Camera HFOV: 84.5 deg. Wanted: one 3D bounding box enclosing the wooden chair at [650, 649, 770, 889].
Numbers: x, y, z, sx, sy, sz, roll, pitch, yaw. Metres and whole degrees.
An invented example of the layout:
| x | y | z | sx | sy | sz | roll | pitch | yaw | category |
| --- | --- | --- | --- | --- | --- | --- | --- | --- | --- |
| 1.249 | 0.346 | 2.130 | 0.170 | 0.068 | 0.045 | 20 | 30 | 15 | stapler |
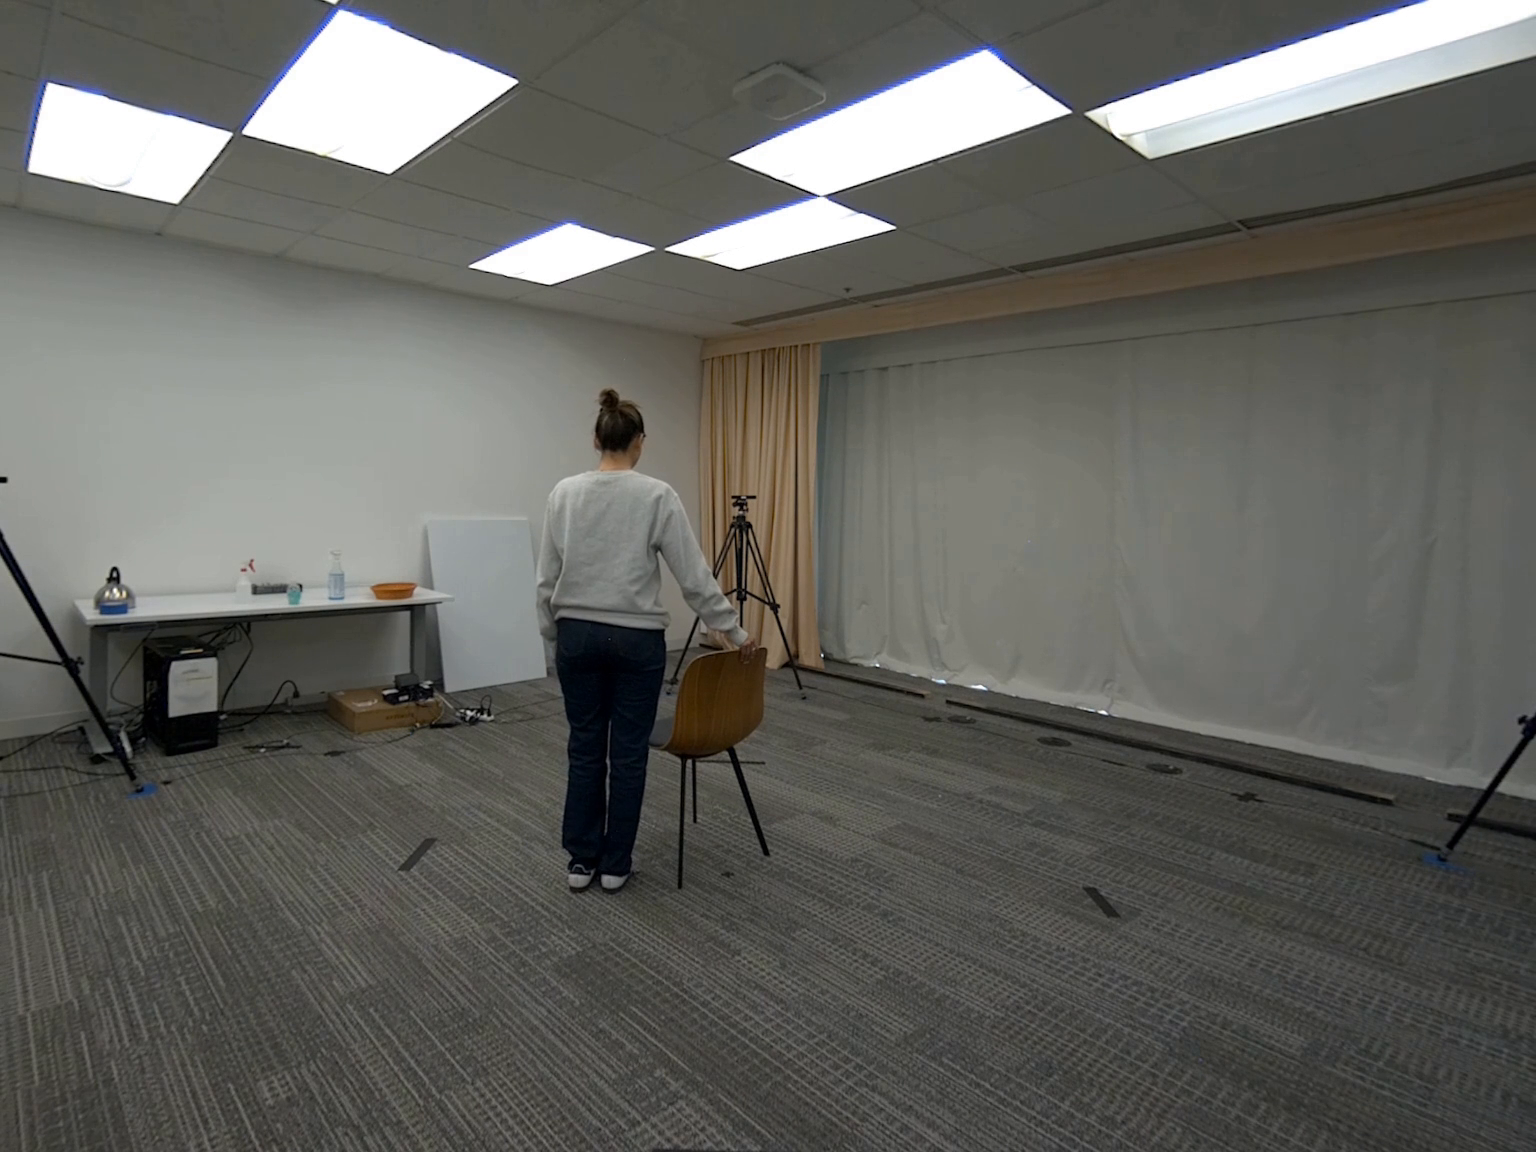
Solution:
| x | y | z | sx | sy | sz | roll | pitch | yaw | category |
| --- | --- | --- | --- | --- | --- | --- | --- | --- | --- |
| -0.306 | 0.658 | 3.268 | 0.467 | 0.873 | 0.538 | -3 | 10 | -43 | wooden chair |
